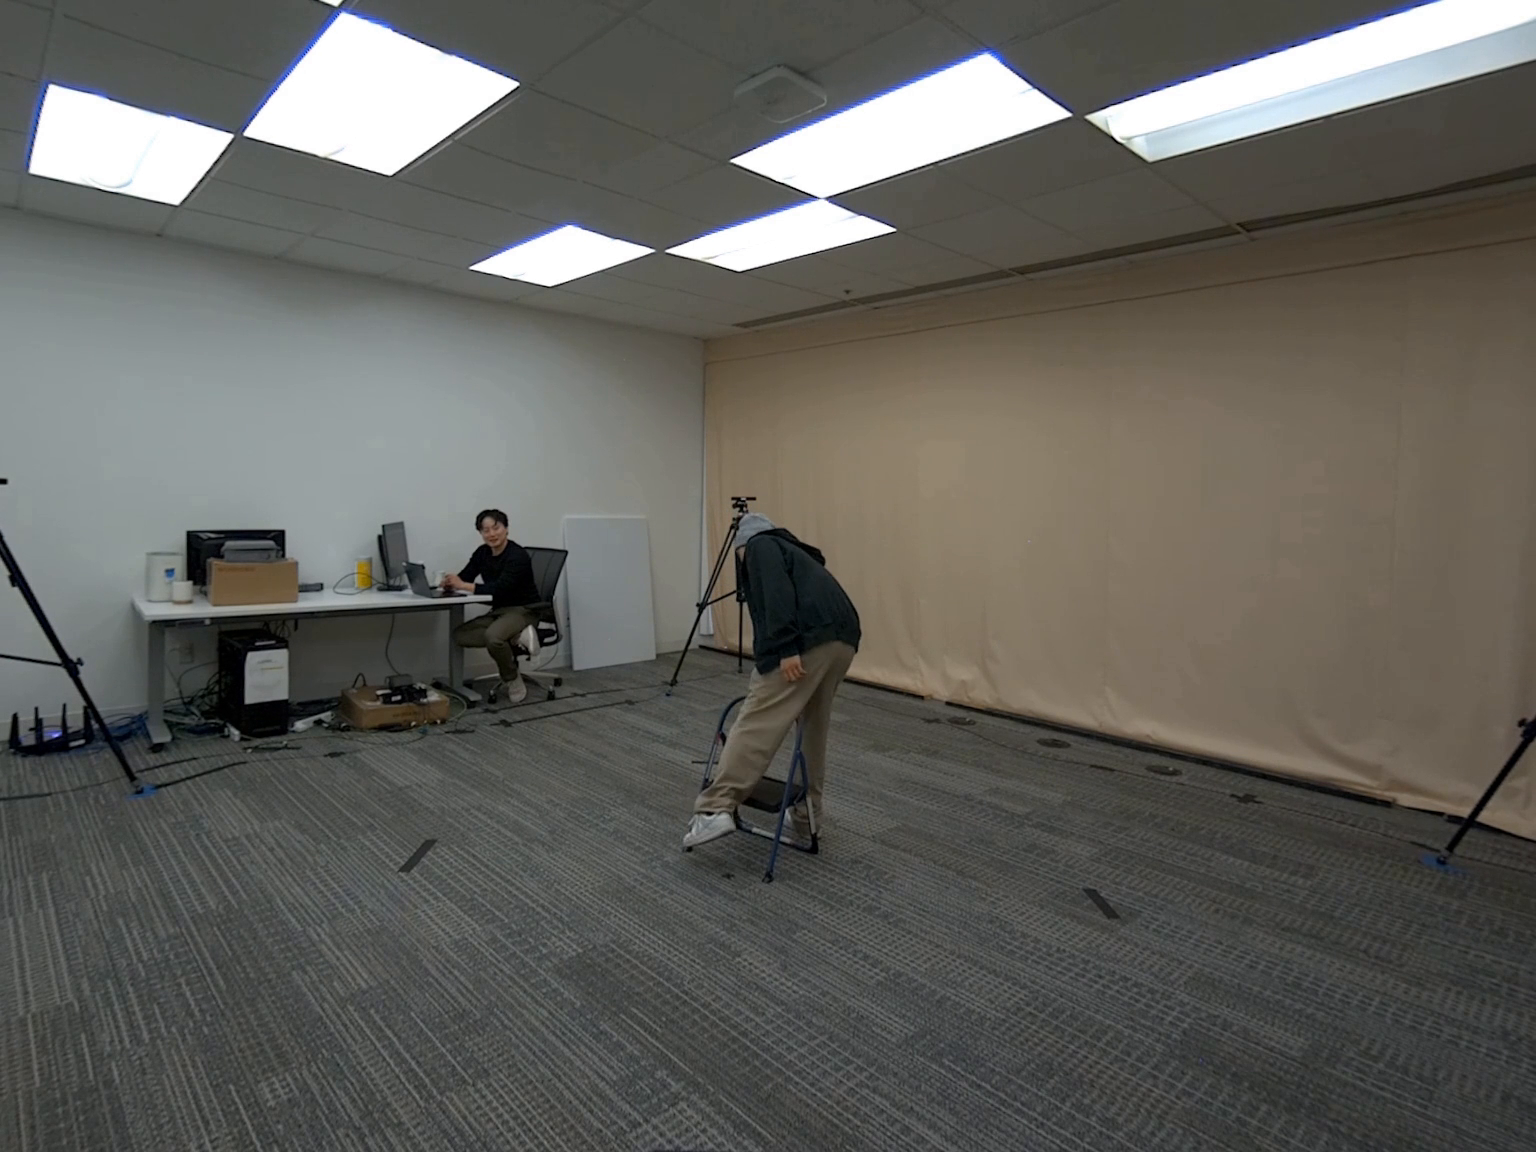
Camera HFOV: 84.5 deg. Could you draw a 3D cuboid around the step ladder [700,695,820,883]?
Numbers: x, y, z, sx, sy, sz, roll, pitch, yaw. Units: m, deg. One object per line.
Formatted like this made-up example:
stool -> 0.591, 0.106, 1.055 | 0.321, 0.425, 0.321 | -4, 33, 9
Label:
step ladder -> -0.063, 0.790, 3.302 | 0.441, 0.604, 0.341 | 4, 4, 37
